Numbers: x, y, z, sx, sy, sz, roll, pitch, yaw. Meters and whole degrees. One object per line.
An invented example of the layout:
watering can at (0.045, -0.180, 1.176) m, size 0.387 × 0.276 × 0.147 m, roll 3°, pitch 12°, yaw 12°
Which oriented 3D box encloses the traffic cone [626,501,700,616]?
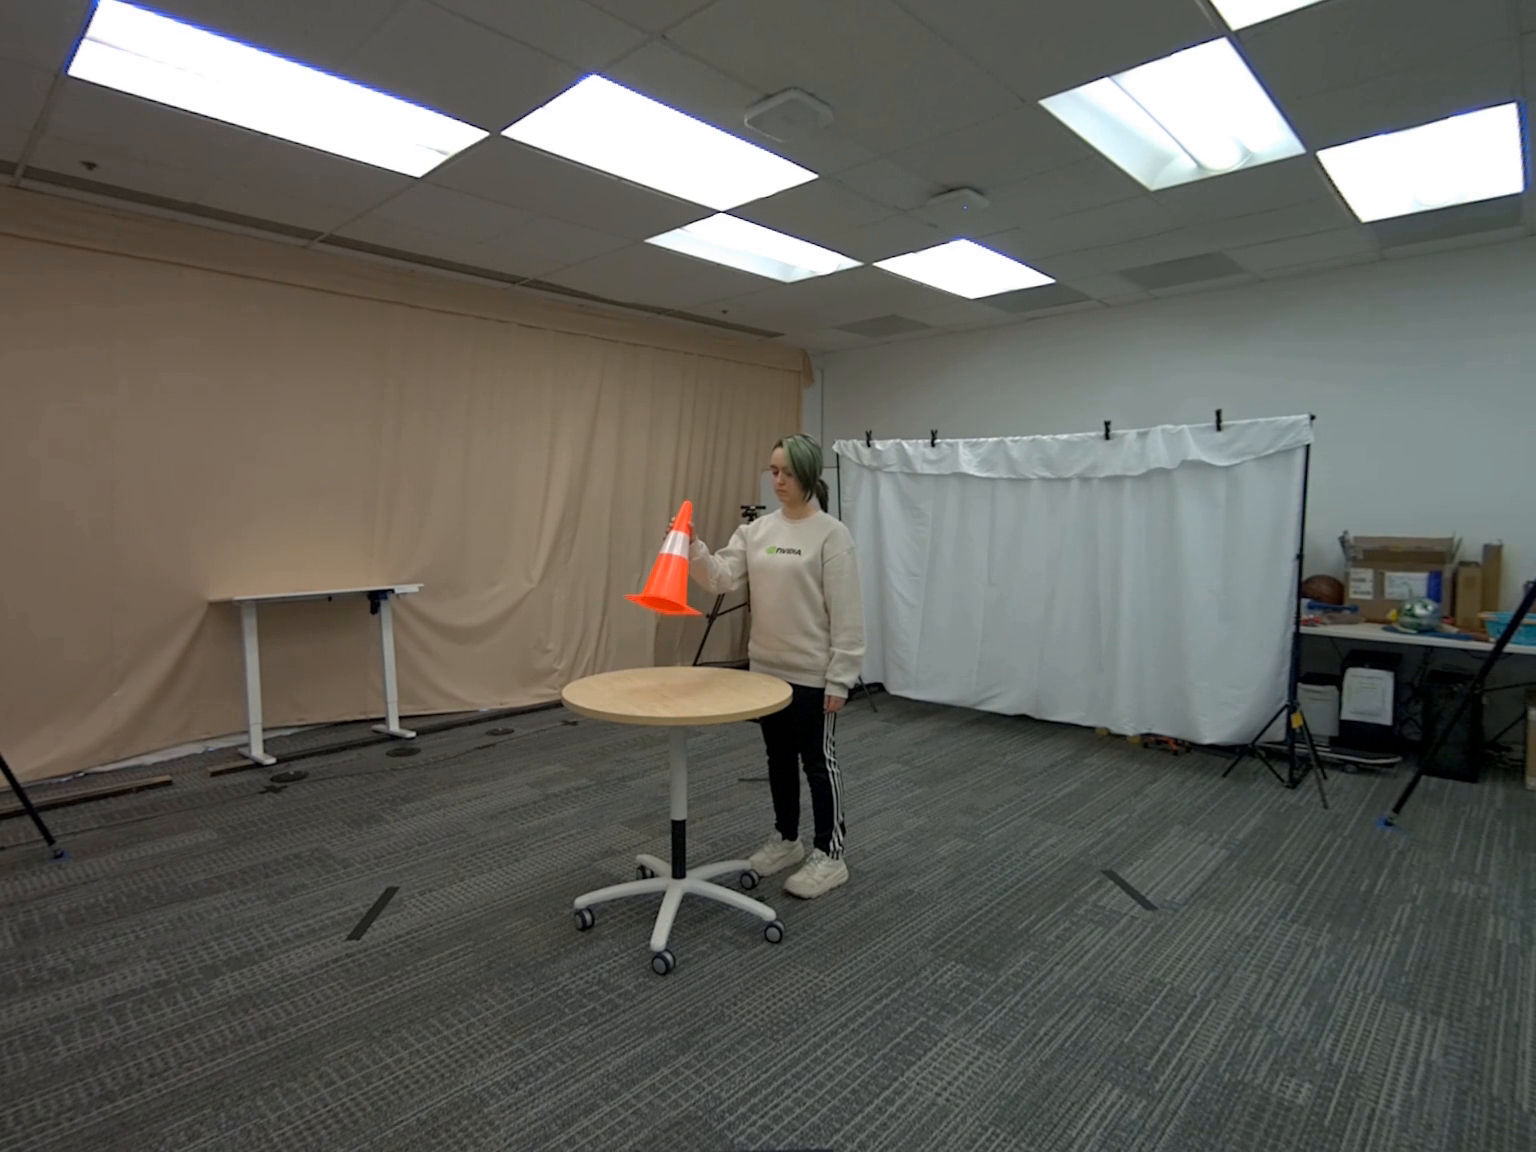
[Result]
traffic cone at (-0.316, -0.069, 2.894) m, size 0.211 × 0.386 × 0.196 m, roll -4°, pitch -23°, yaw 38°
